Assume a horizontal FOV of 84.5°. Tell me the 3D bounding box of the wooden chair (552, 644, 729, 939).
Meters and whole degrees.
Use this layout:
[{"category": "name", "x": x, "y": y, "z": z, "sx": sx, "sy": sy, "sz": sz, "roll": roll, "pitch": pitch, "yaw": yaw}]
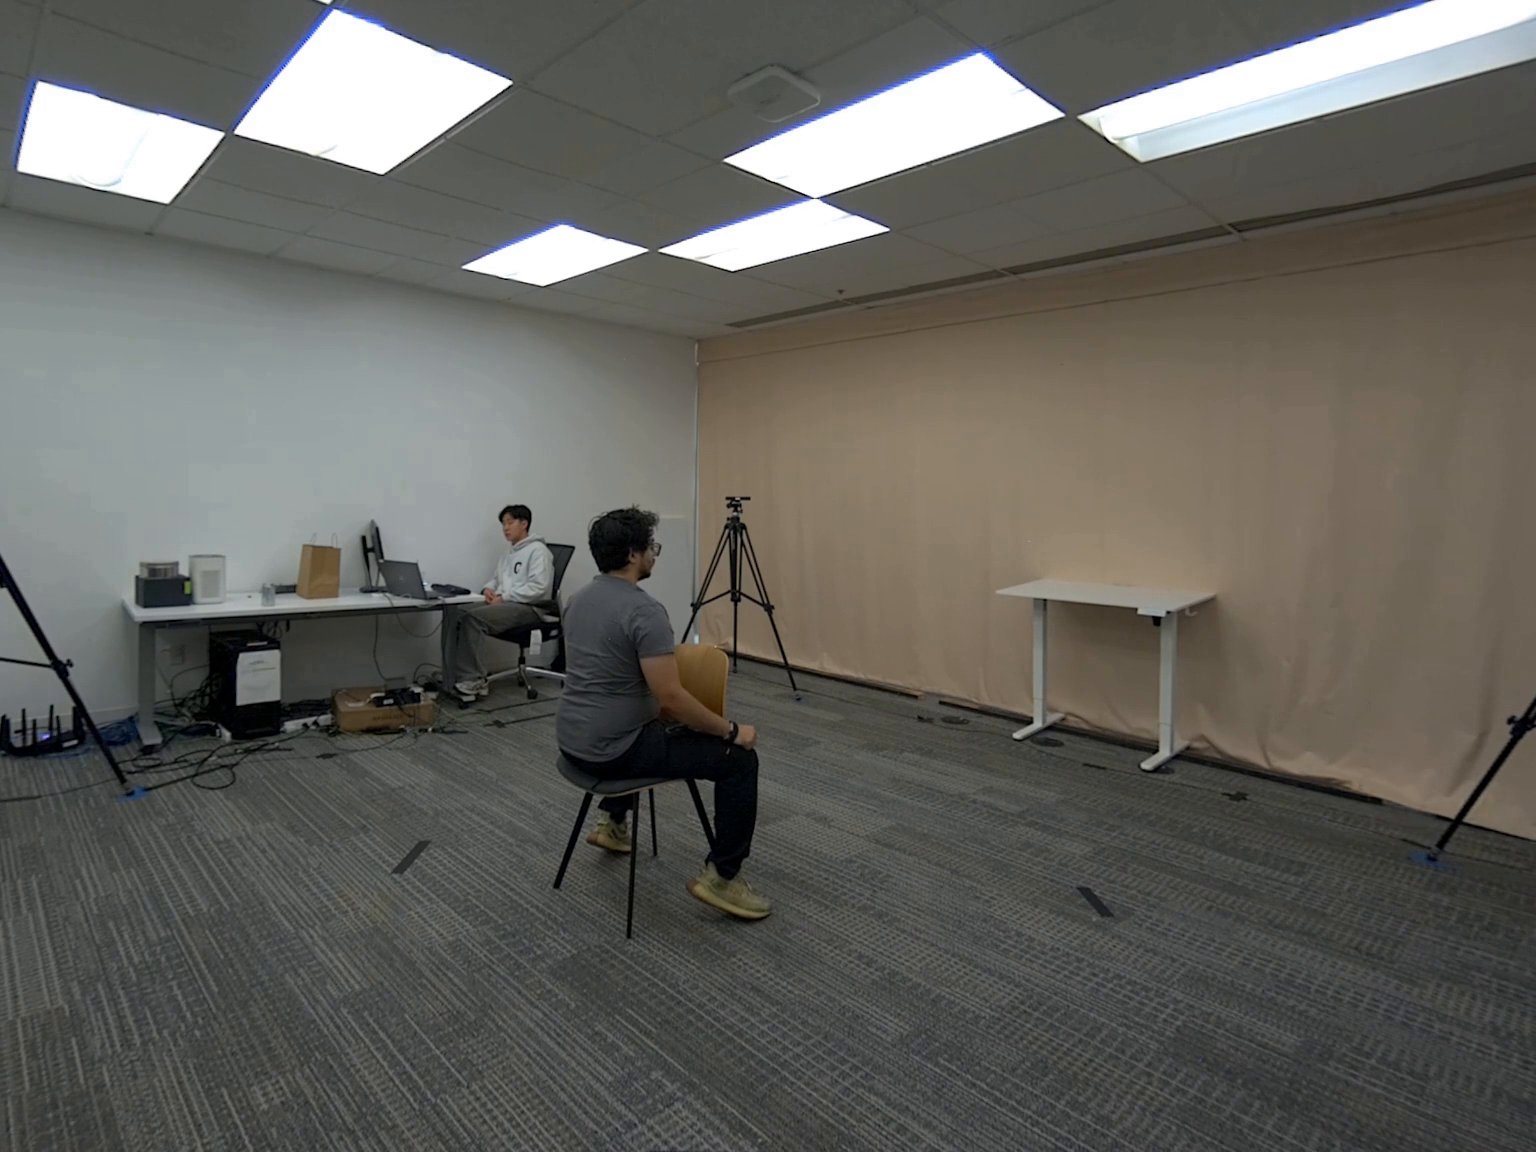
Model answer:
[{"category": "wooden chair", "x": -0.439, "y": 0.694, "z": 2.925, "sx": 0.510, "sy": 0.877, "sz": 0.490, "roll": 4, "pitch": 1, "yaw": -43}]
